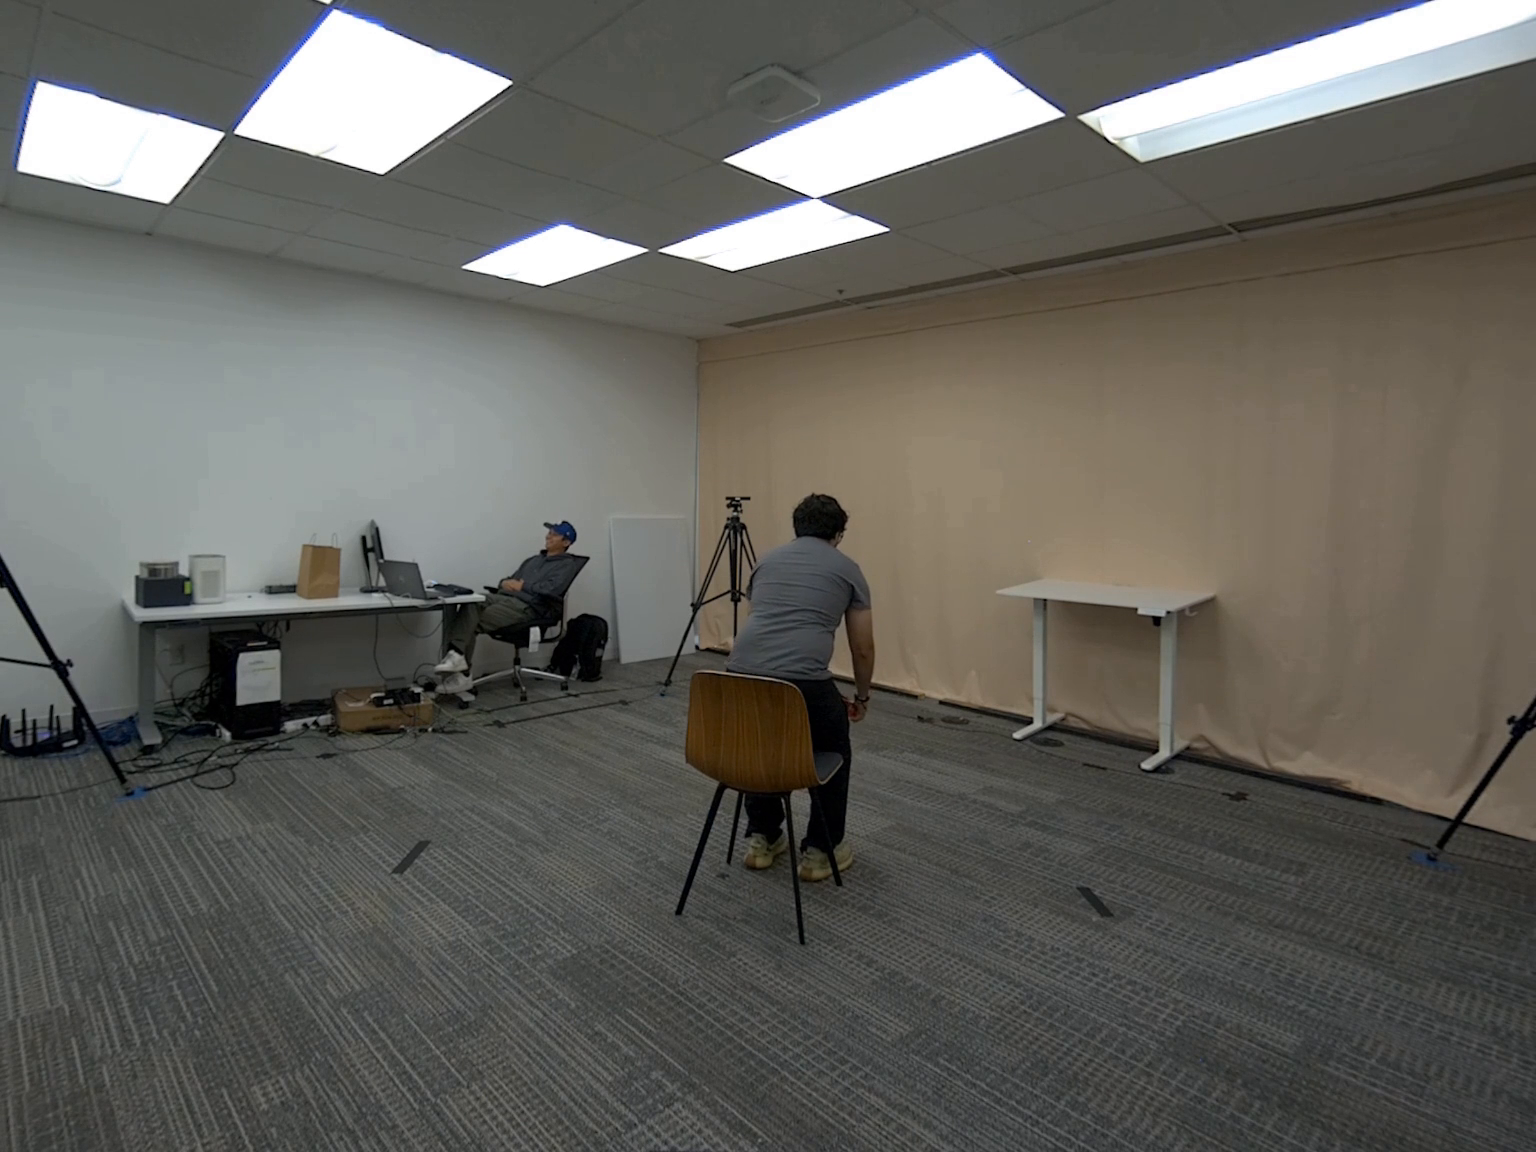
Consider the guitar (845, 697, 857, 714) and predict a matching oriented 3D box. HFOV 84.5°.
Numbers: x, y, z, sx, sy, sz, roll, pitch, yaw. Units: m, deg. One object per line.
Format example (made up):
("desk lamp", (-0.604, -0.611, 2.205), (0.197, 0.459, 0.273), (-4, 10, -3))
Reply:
("guitar", (0.193, 0.483, 3.557), (0.187, 0.071, 0.512), (24, -1, -38))
